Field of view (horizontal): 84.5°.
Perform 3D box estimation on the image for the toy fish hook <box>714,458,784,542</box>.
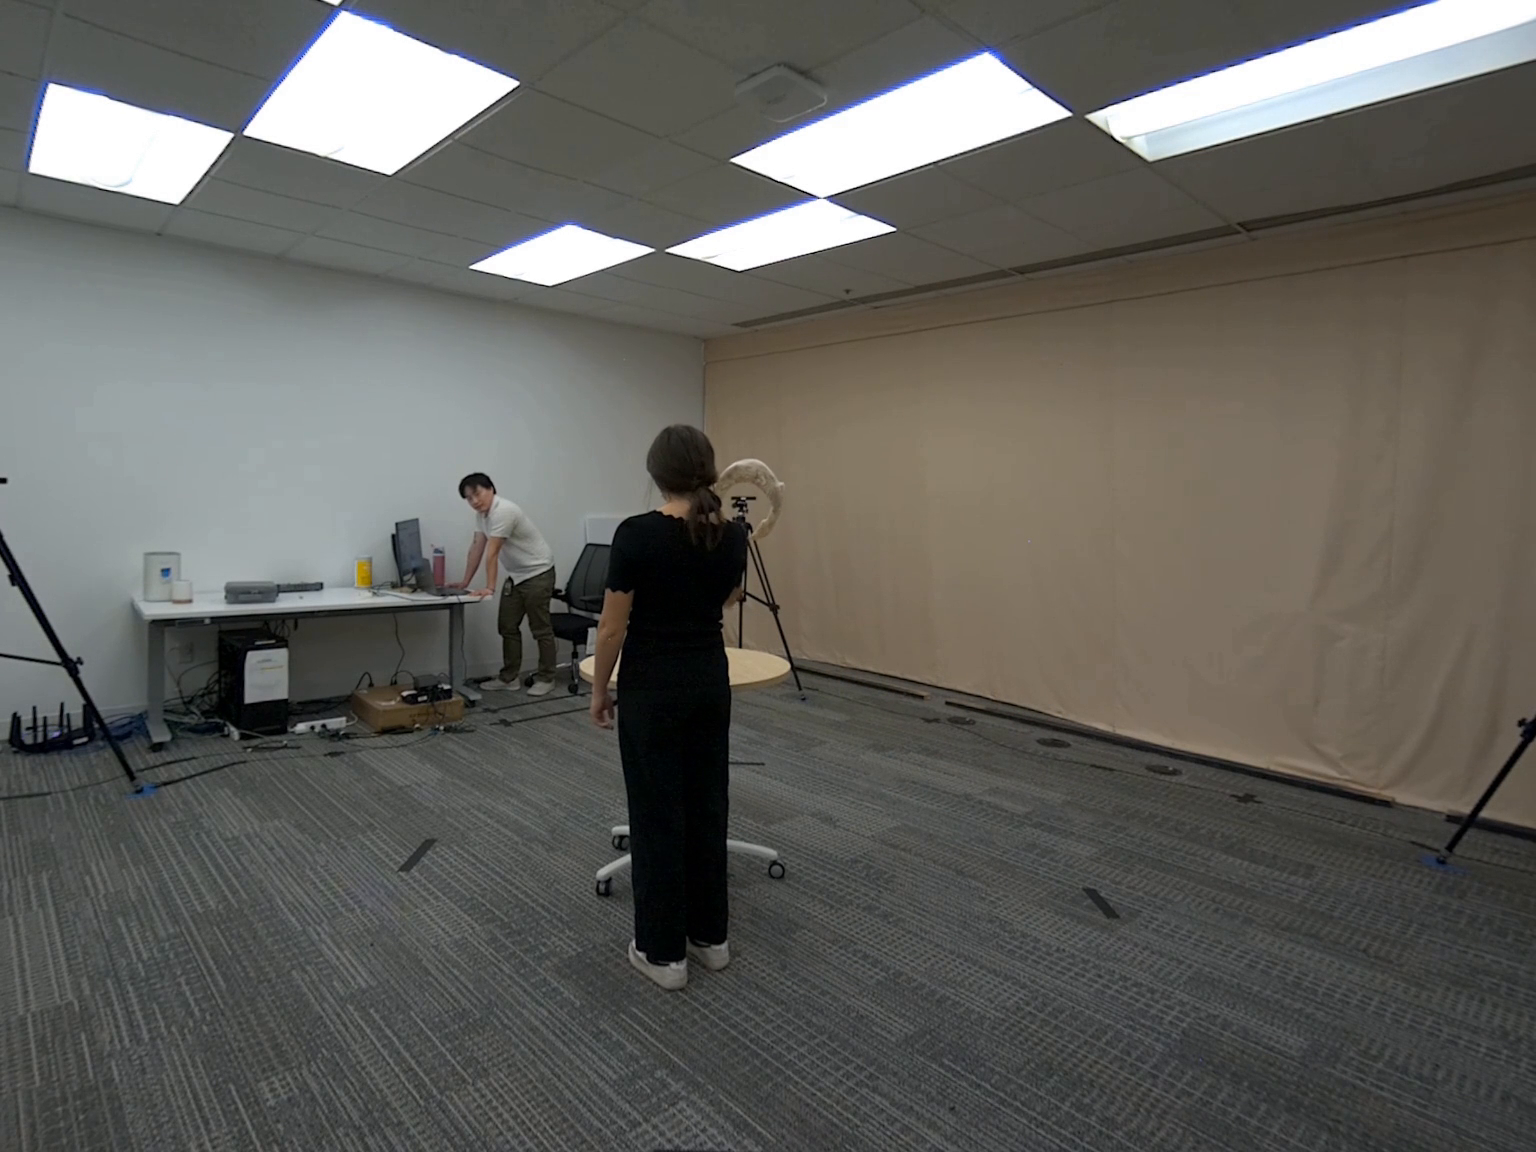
[{"bbox_3d":[-0.151,-0.139,2.529,0.506,0.228,0.047,-47,-14,25],"label":"toy fish hook"}]
